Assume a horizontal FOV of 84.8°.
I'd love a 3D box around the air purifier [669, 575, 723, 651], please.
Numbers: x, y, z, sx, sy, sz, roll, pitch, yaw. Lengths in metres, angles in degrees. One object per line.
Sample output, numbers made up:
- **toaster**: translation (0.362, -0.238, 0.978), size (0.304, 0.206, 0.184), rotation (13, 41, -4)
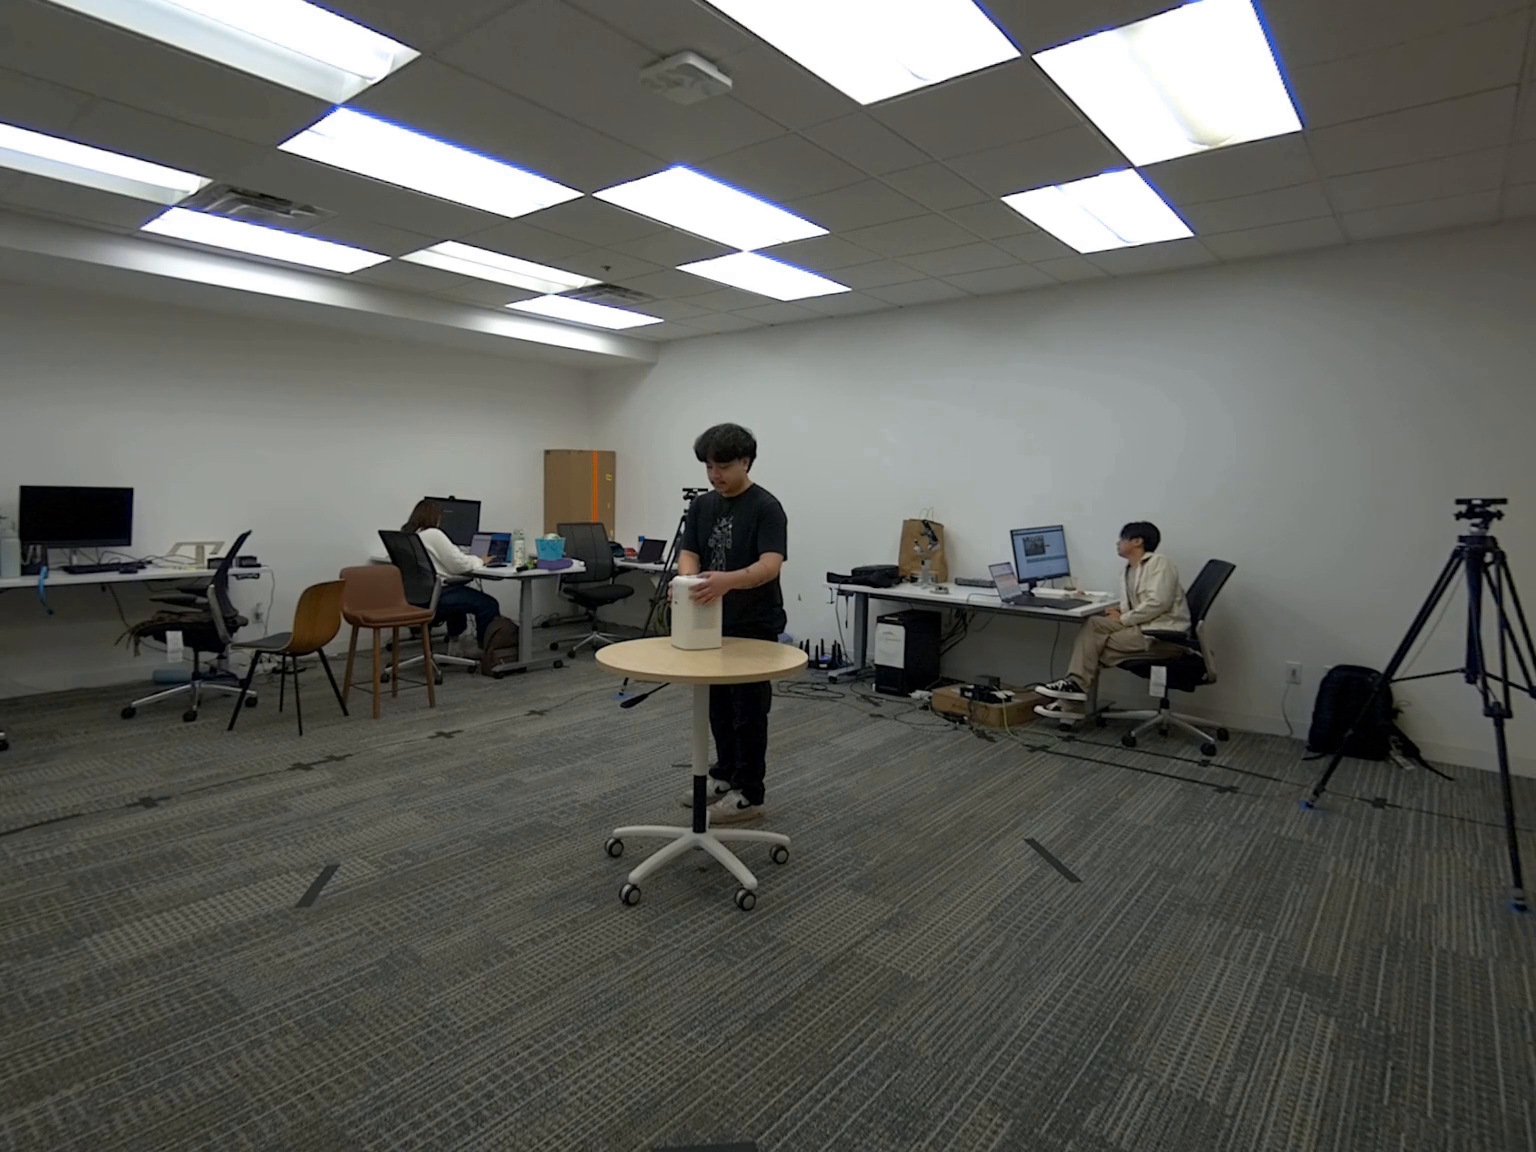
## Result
- **air purifier**: translation (-0.286, 0.131, 3.230), size (0.167, 0.265, 0.175), rotation (0, 0, -25)
